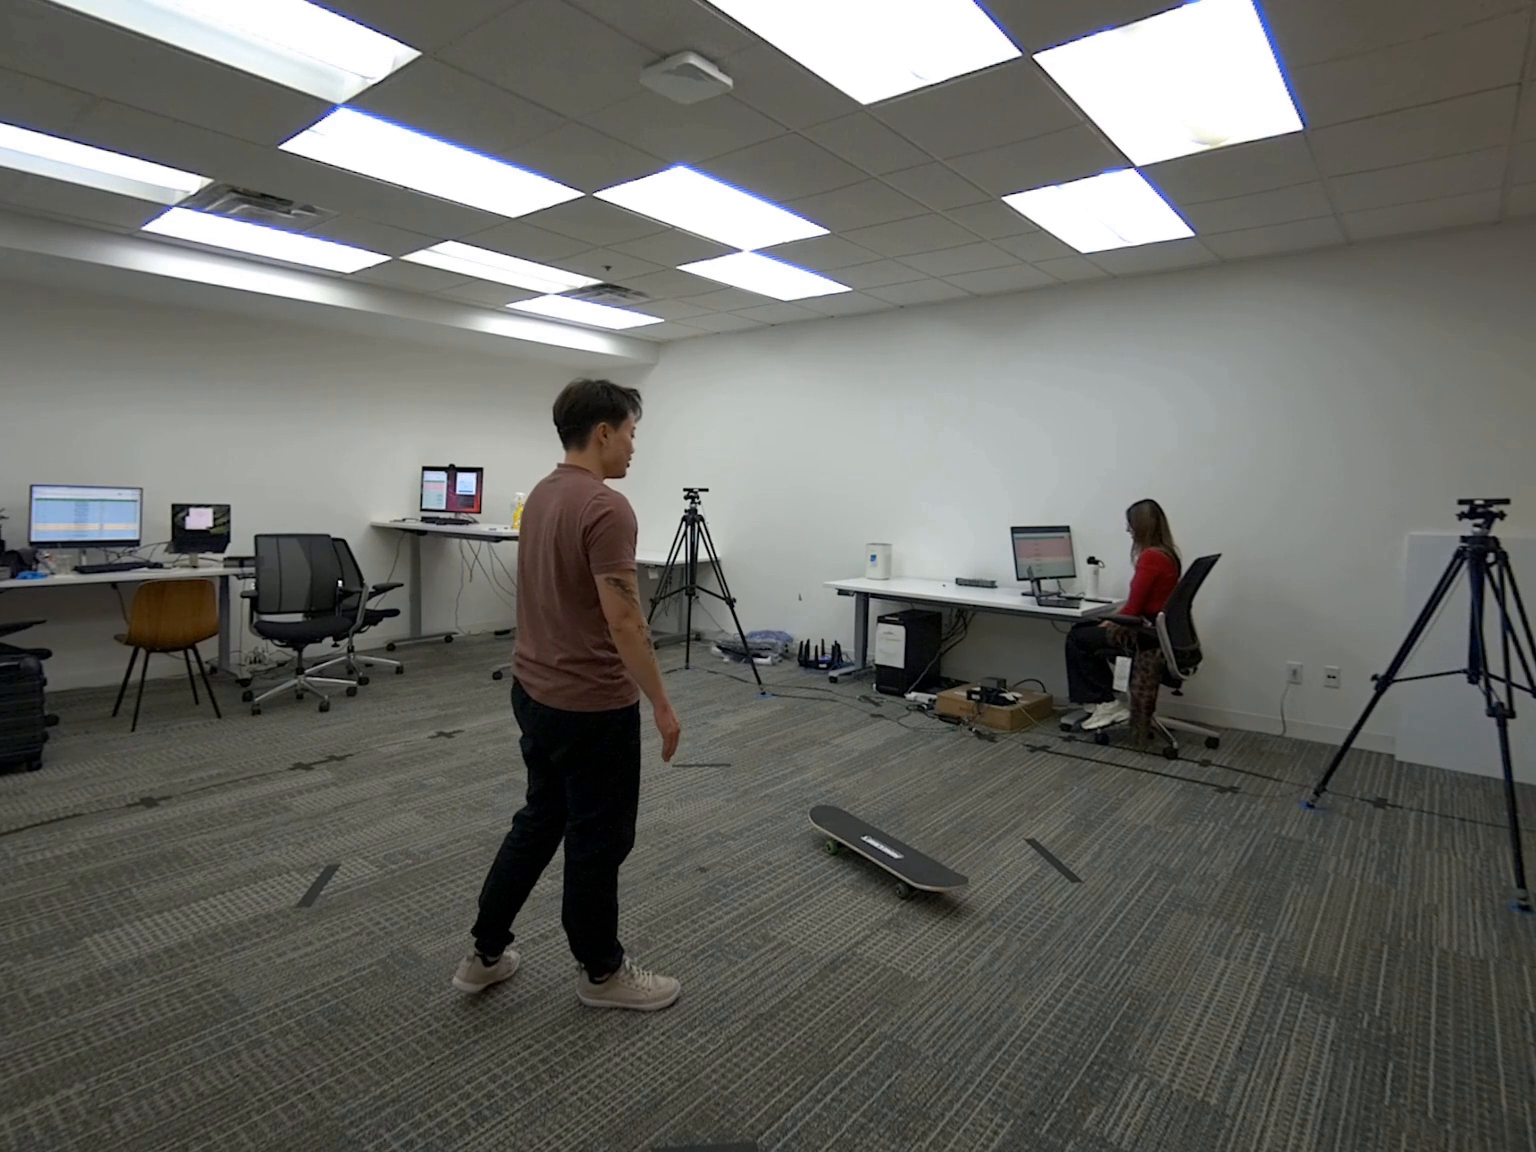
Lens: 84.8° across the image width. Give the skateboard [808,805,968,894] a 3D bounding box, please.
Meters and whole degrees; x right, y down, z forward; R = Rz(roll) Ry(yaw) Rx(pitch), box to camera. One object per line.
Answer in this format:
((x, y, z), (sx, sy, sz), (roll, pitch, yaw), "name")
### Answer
((0.409, 1.021, 3.133), (0.188, 0.110, 0.810), (-2, 6, -32), "skateboard")
